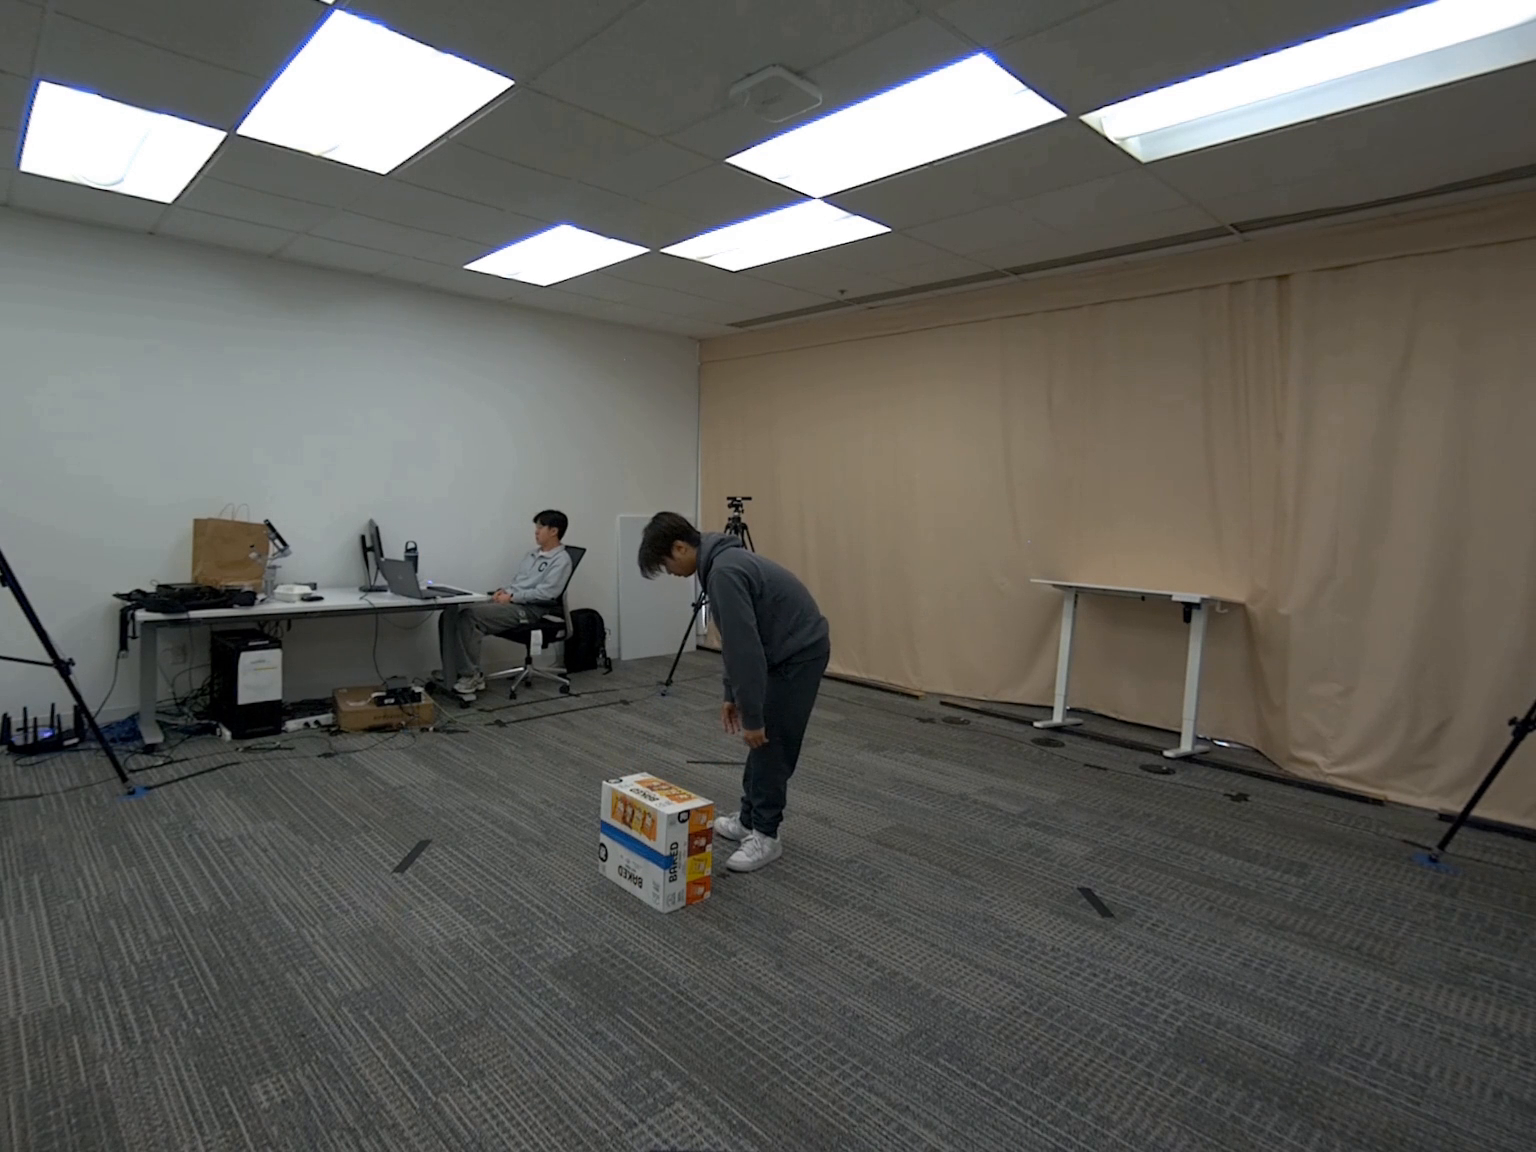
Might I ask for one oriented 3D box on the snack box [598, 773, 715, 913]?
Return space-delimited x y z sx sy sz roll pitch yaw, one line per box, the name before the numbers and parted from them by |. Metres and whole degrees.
snack box | -0.414 0.942 3.008 0.201 0.340 0.415 0 4 -43
